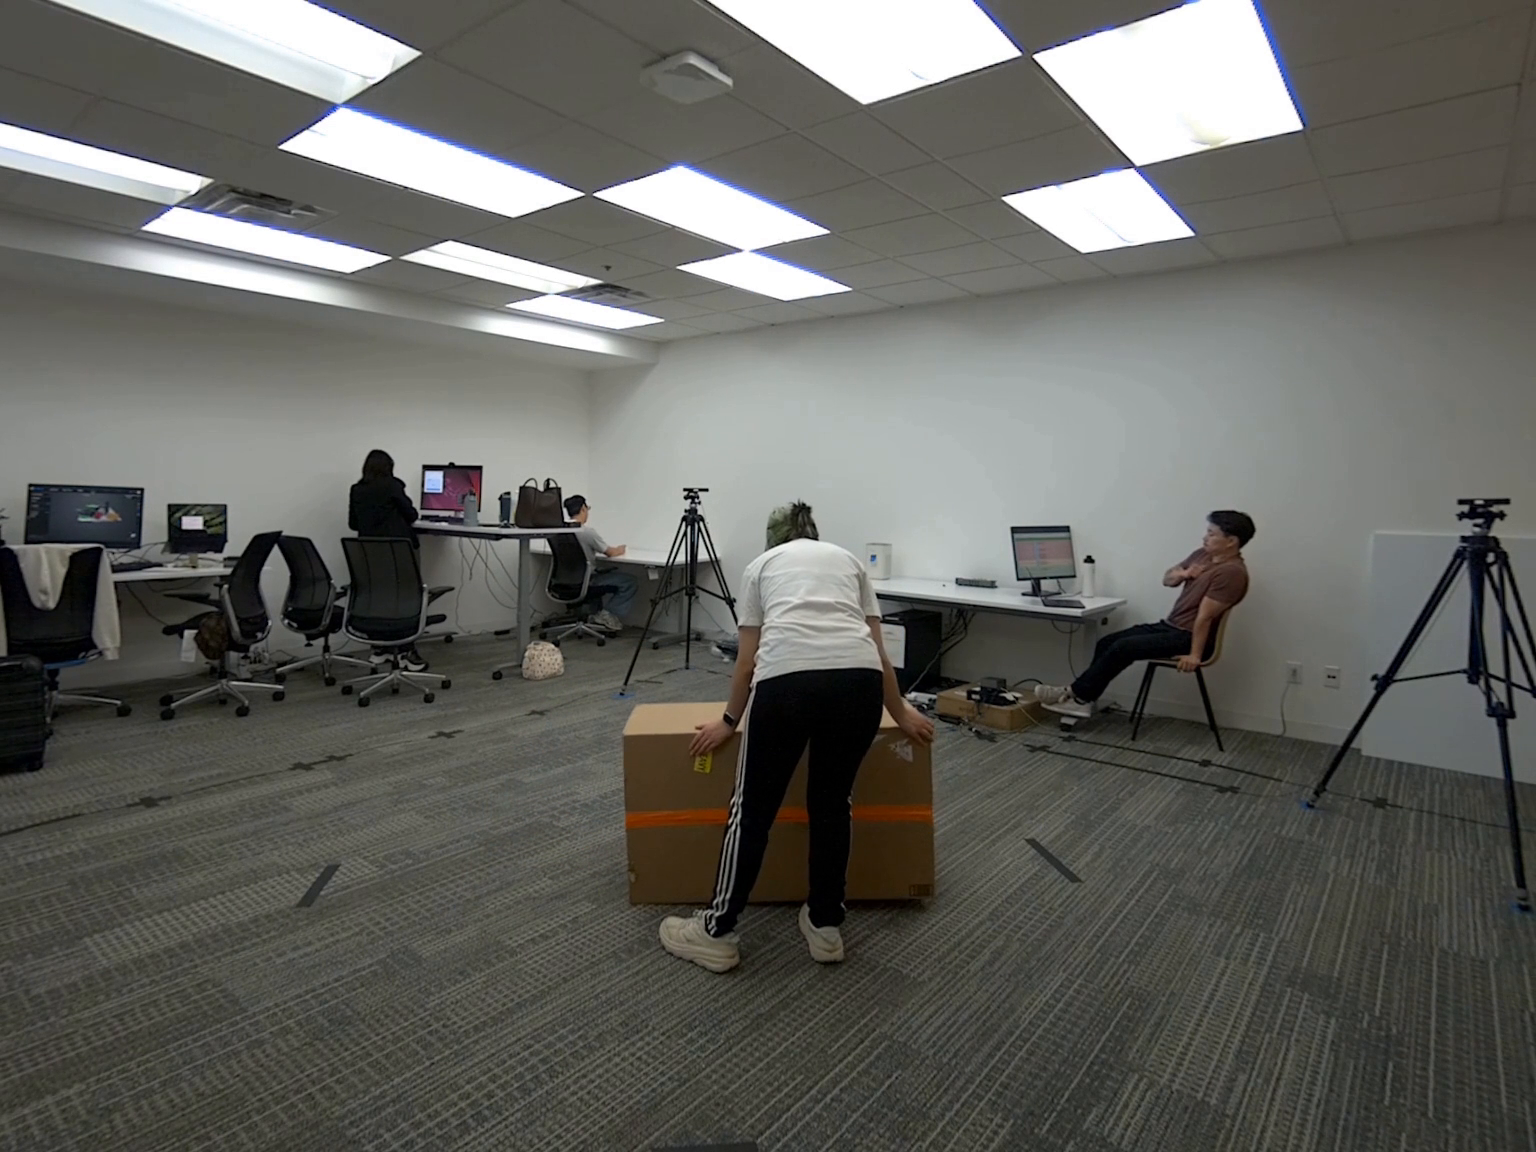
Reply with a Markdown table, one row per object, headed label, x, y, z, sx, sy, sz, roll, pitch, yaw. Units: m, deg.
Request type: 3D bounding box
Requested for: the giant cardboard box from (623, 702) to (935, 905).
| label | x | y | z | sx | sy | sz | roll | pitch | yaw |
| --- | --- | --- | --- | --- | --- | --- | --- | --- | --- |
| giant cardboard box | 0.014 | 0.769 | 3.023 | 1.026 | 0.576 | 0.427 | -2 | 3 | 0 |
